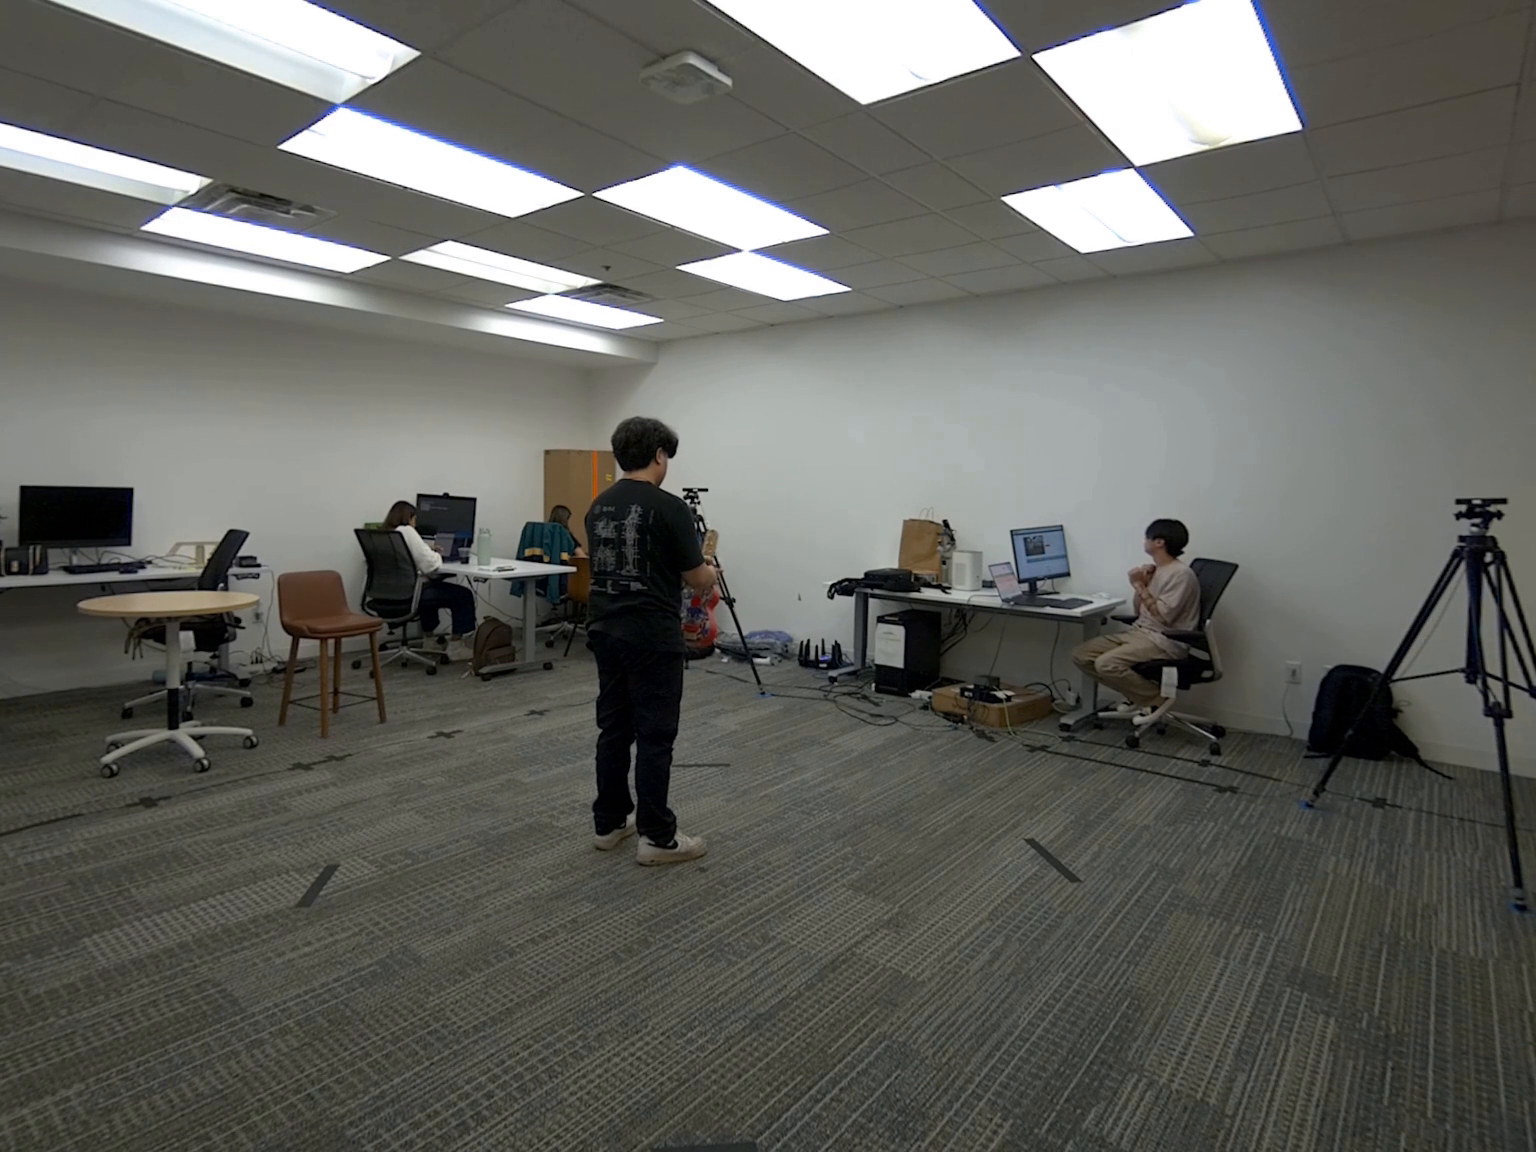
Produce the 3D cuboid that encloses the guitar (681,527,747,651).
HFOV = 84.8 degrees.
[{"bbox_3d":[-0.266,0.048,3.540,0.199,0.502,0.068,9,-19,29],"label":"guitar"}]
